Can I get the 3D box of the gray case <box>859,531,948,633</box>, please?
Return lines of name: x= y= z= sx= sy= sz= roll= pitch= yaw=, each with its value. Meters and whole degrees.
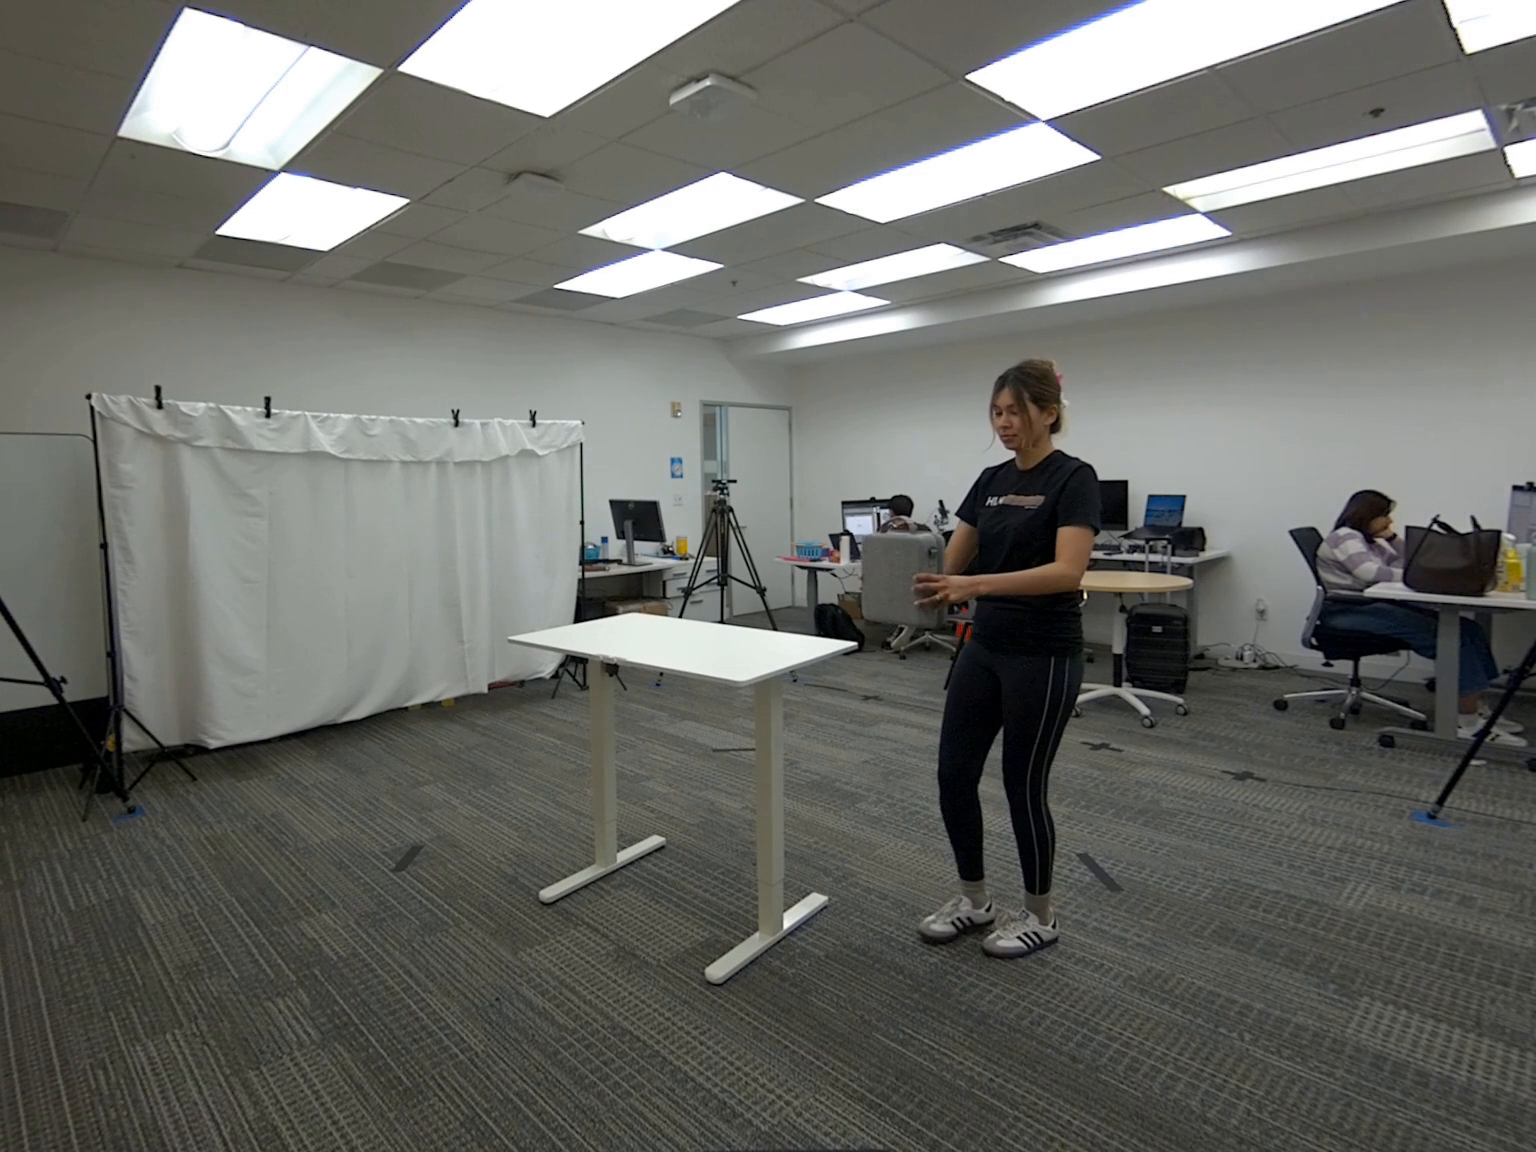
gray case: x=0.379 y=0.004 z=2.331 sx=0.102 sy=0.260 sz=0.264 roll=-4 pitch=3 yaw=-32
